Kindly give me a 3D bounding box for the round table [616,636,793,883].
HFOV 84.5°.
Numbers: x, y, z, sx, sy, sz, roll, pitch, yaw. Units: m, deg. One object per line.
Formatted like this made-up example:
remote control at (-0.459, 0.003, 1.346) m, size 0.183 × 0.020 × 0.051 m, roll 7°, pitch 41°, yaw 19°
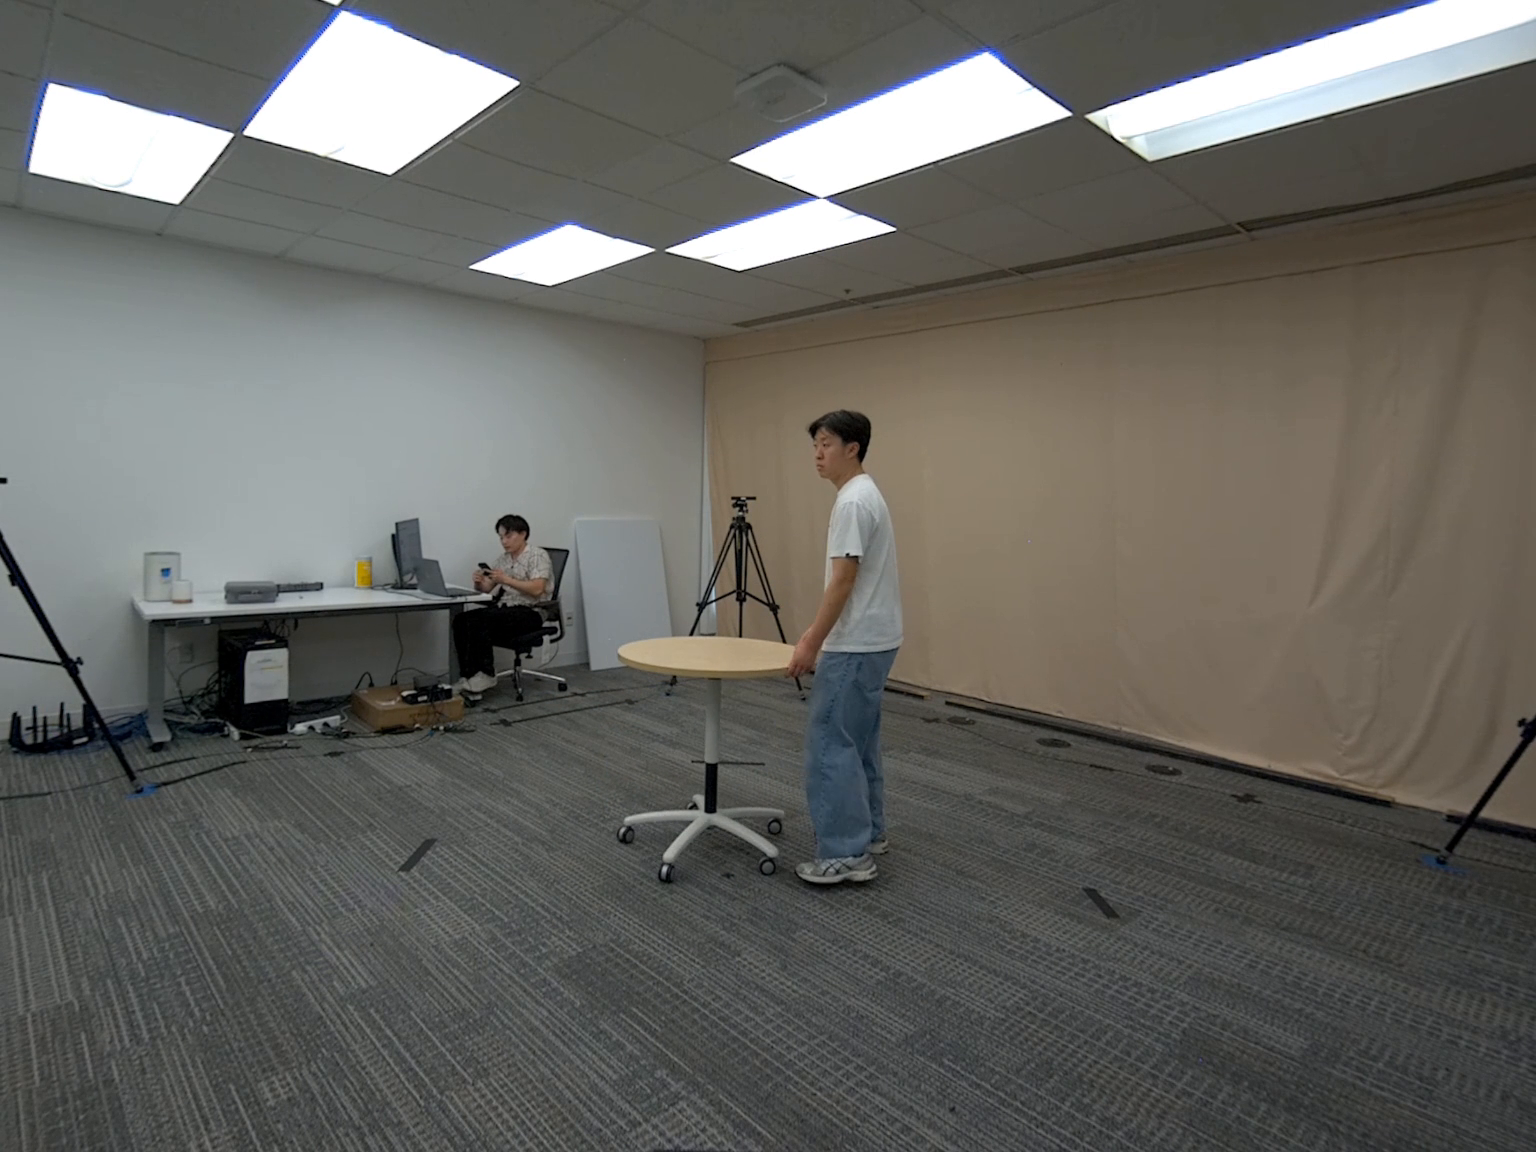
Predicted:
round table at (-0.230, 0.692, 3.338) m, size 0.763 × 0.792 × 0.766 m, roll 2°, pitch 4°, yaw -1°
